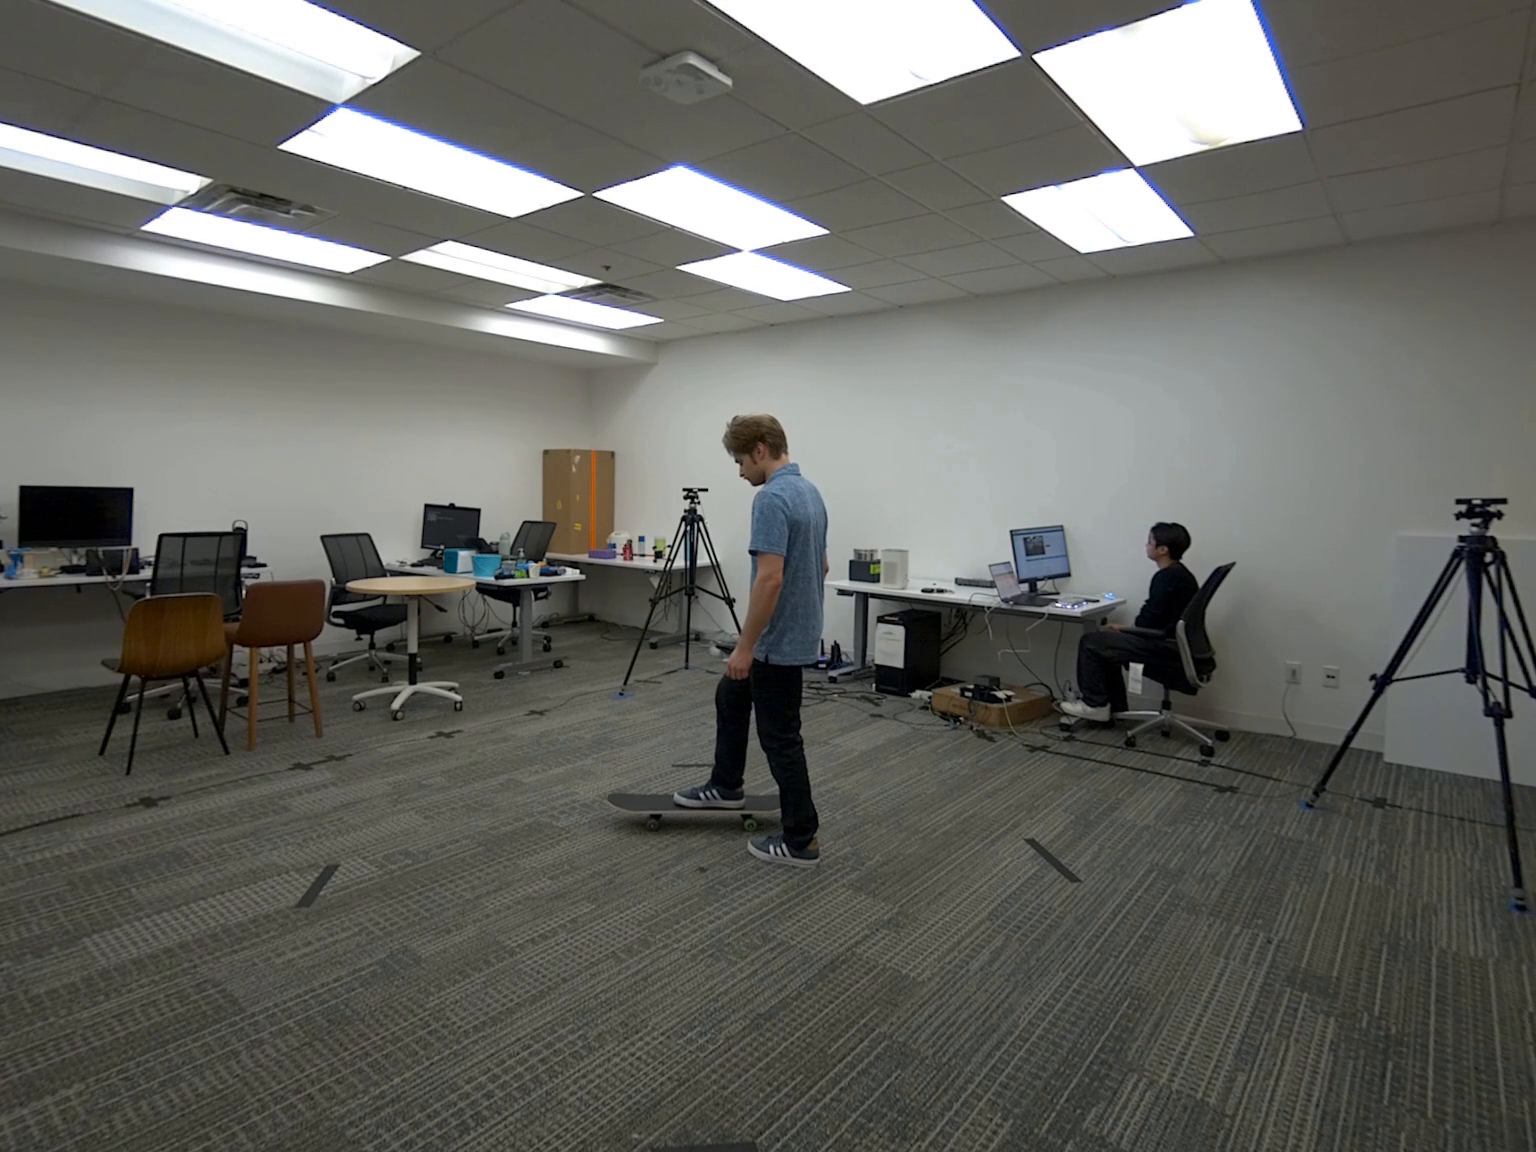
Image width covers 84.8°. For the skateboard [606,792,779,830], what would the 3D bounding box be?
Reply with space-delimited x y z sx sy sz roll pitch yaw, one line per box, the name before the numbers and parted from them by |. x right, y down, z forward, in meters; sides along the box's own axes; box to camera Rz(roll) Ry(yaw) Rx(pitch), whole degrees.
skateboard | -0.287 0.970 3.536 0.783 0.110 0.195 0 6 -2
